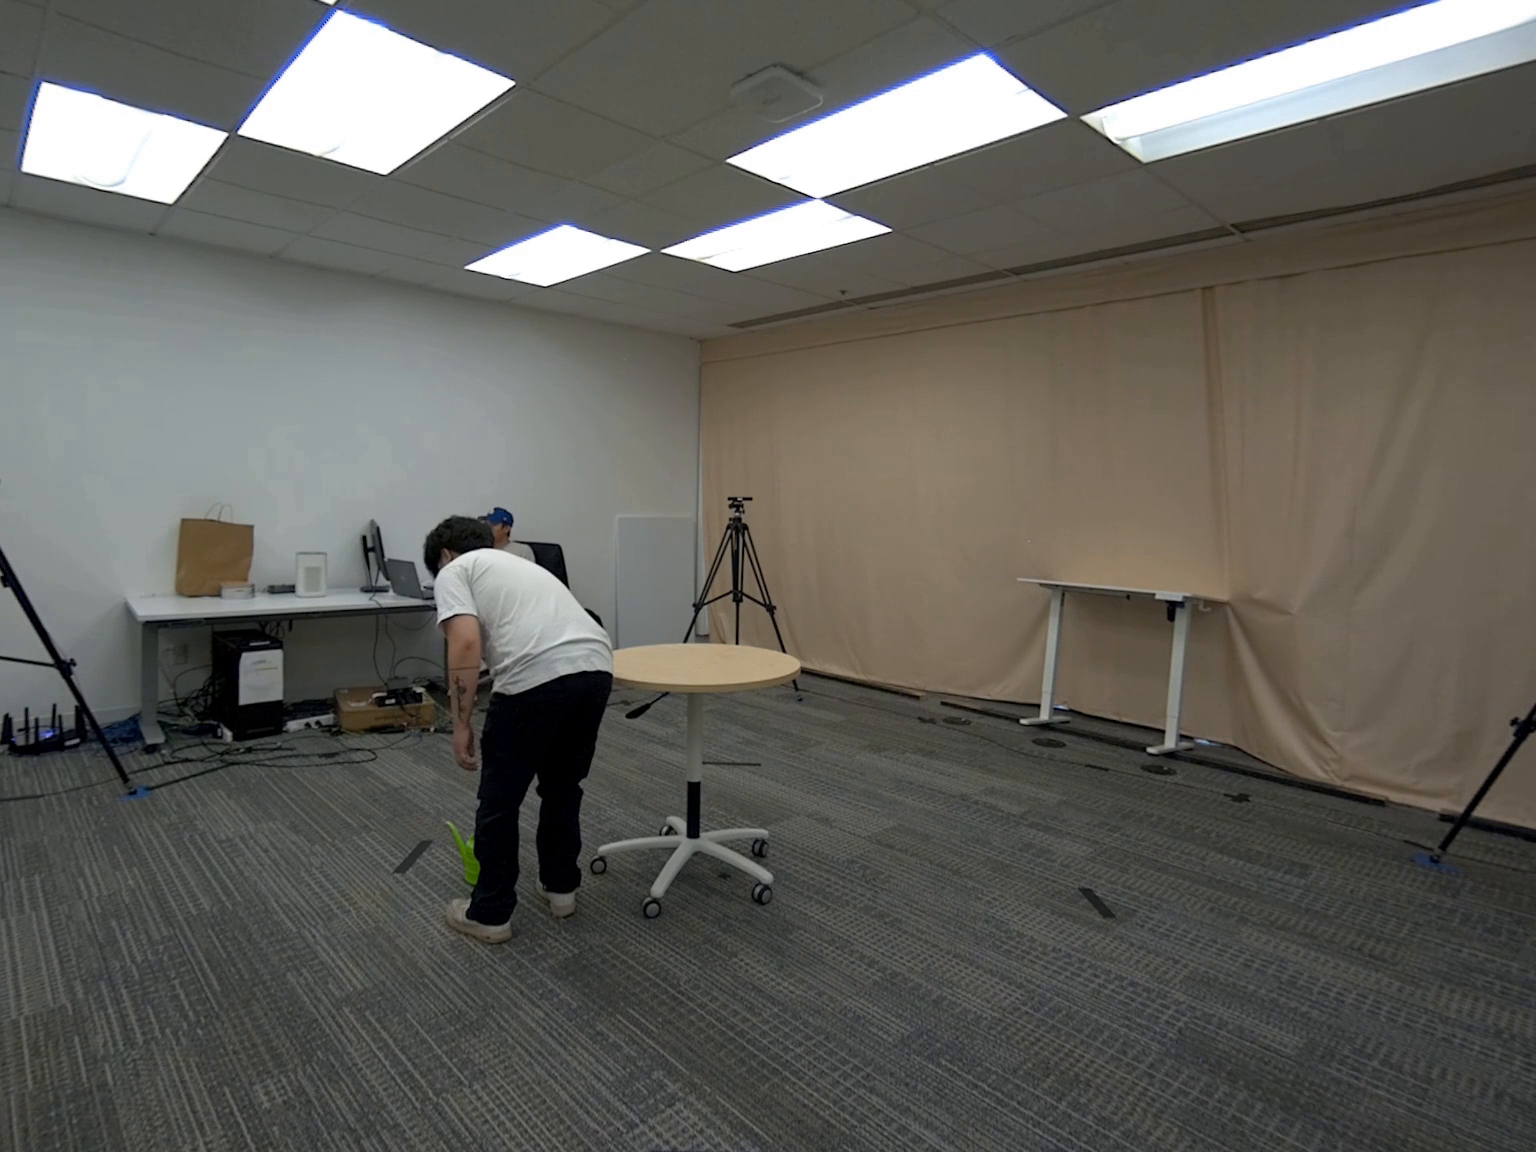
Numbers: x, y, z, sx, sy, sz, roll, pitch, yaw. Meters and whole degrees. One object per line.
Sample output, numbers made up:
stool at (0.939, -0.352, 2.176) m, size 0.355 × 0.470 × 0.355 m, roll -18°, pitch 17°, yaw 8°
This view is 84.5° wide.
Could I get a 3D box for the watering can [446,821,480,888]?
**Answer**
watering can at (-1.077, 1.009, 3.048) m, size 0.285 × 0.176 × 0.096 m, roll 8°, pitch 7°, yaw 41°
